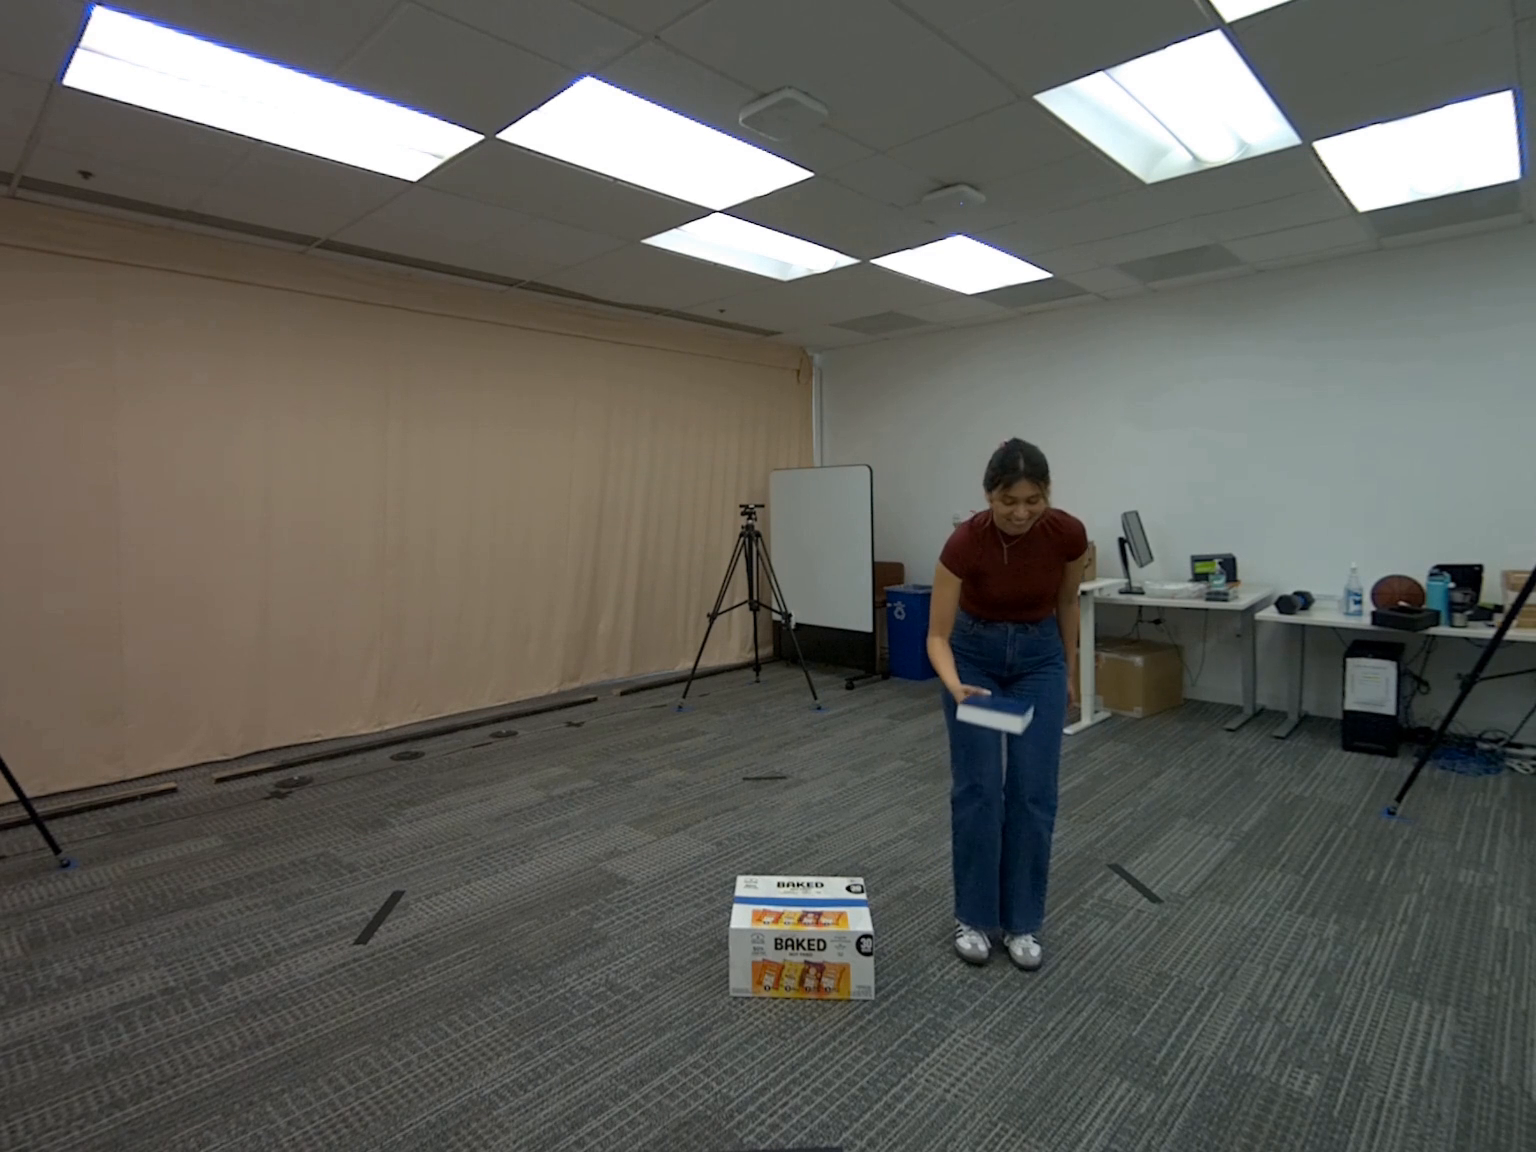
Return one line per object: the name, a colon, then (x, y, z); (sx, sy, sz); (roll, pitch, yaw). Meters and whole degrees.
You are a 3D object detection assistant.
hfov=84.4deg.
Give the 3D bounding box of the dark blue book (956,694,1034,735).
dark blue book: (0.603, 0.351, 2.182); (0.168, 0.045, 0.239); (6, 2, 24)
